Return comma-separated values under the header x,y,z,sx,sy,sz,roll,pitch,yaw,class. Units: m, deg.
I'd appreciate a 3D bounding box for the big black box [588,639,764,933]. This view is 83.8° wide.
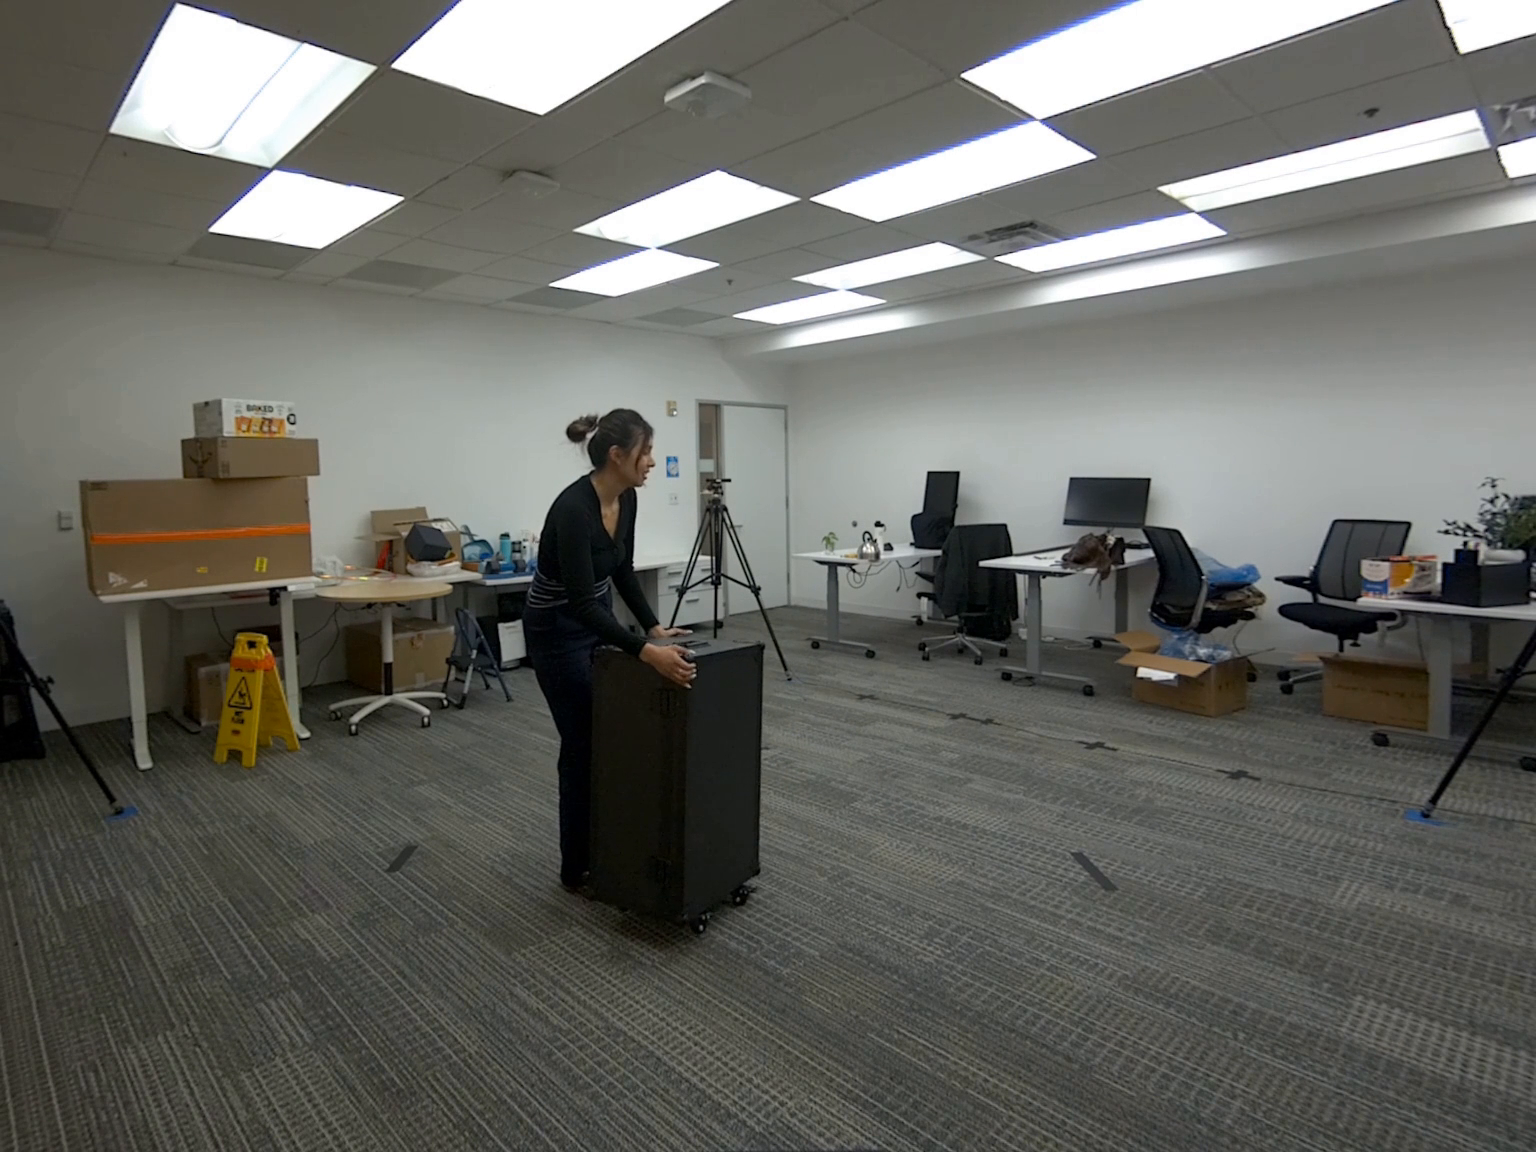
x,y,z,sx,sy,sz,roll,pitch,yaw,class
-0.293,0.649,2.779,0.406,0.862,0.507,0,-1,30,big black box
